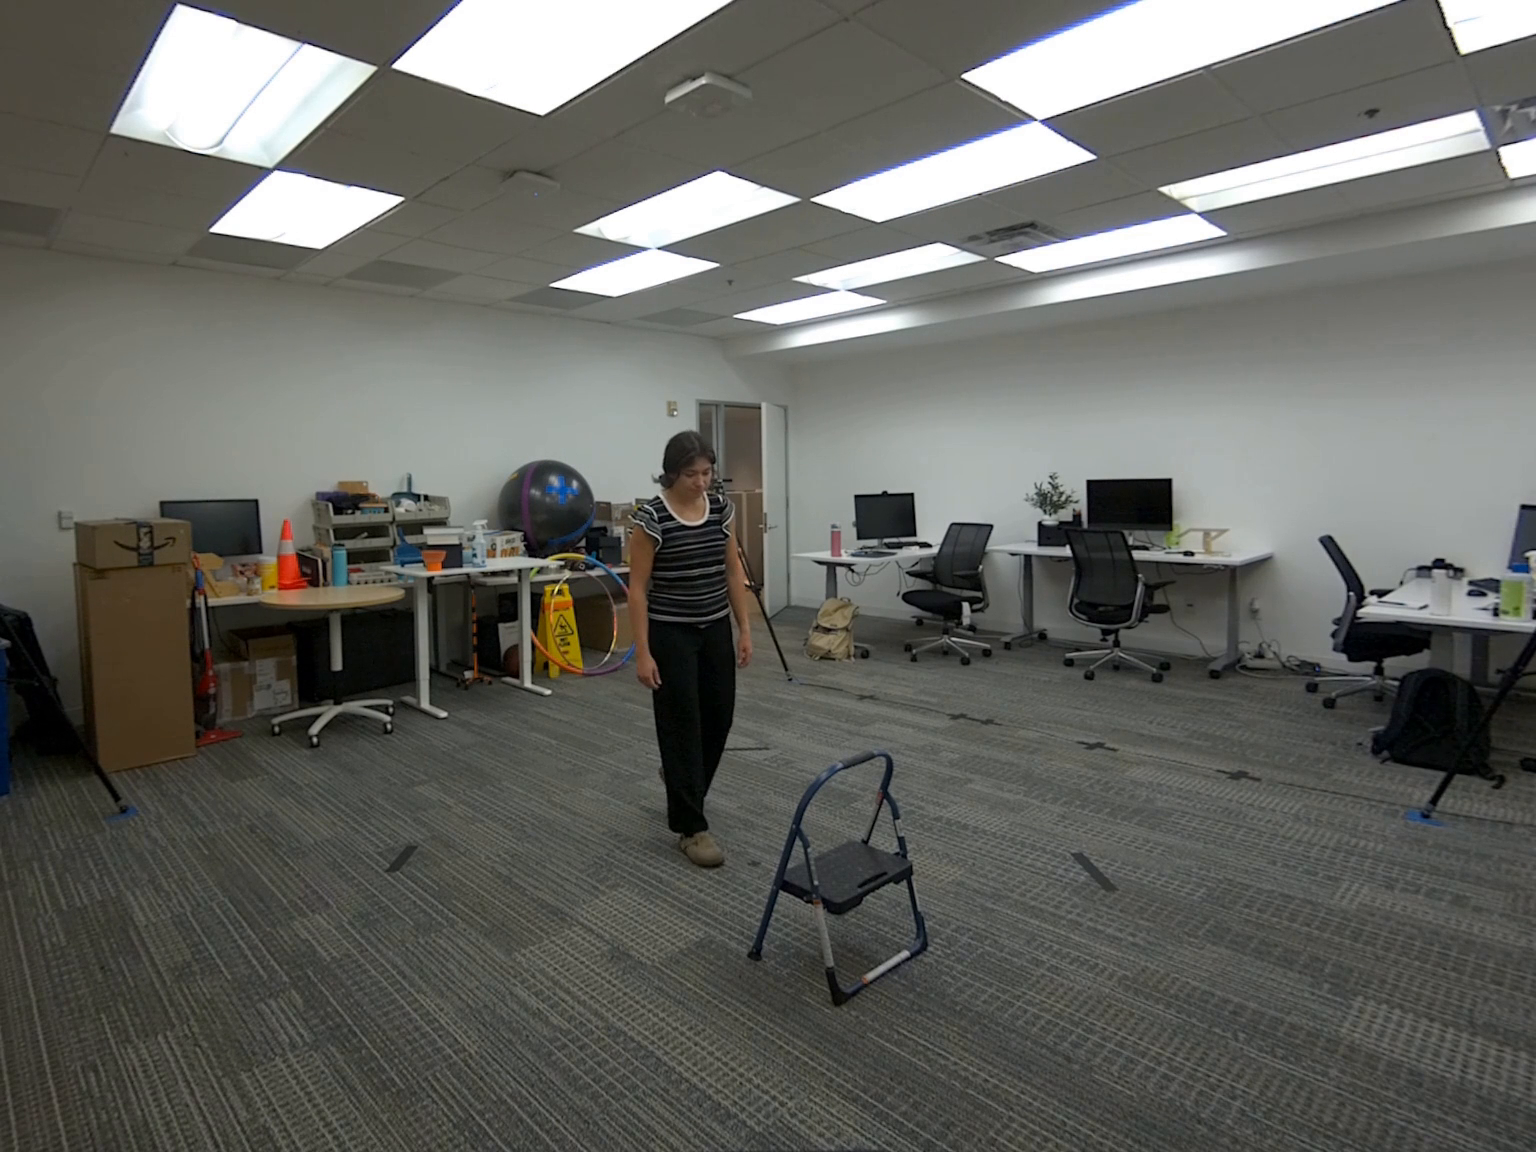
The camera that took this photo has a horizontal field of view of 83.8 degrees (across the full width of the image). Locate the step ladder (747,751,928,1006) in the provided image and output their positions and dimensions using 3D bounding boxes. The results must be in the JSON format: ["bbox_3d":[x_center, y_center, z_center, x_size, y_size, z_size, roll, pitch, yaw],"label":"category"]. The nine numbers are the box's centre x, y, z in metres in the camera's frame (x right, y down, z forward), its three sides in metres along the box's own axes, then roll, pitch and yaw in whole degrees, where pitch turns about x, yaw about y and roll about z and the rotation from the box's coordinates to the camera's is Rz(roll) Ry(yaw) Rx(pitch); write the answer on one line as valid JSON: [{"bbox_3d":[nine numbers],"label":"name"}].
[{"bbox_3d":[0.208,0.811,2.498,0.419,0.604,0.360,-6,6,-44],"label":"step ladder"}]
